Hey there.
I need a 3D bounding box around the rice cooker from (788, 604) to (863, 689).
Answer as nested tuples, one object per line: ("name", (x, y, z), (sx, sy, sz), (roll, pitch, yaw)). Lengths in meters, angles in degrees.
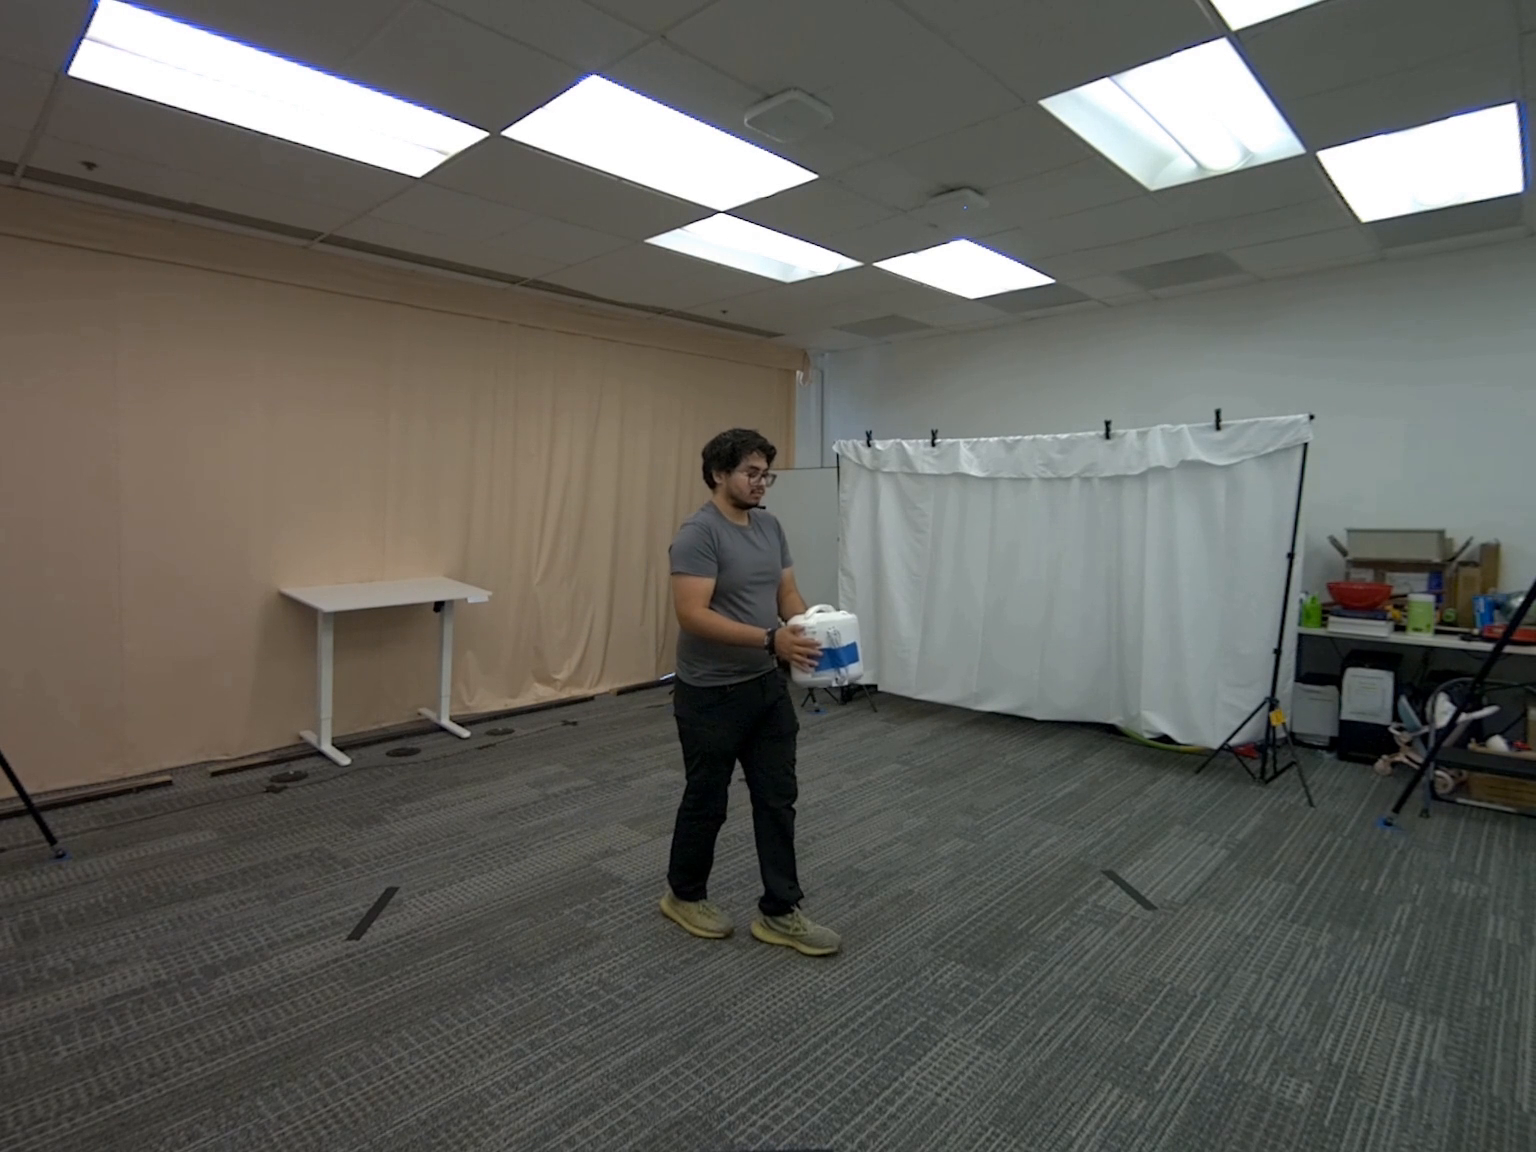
("rice cooker", (0.164, 0.197, 2.446), (0.223, 0.234, 0.214), (-10, -7, 34))
